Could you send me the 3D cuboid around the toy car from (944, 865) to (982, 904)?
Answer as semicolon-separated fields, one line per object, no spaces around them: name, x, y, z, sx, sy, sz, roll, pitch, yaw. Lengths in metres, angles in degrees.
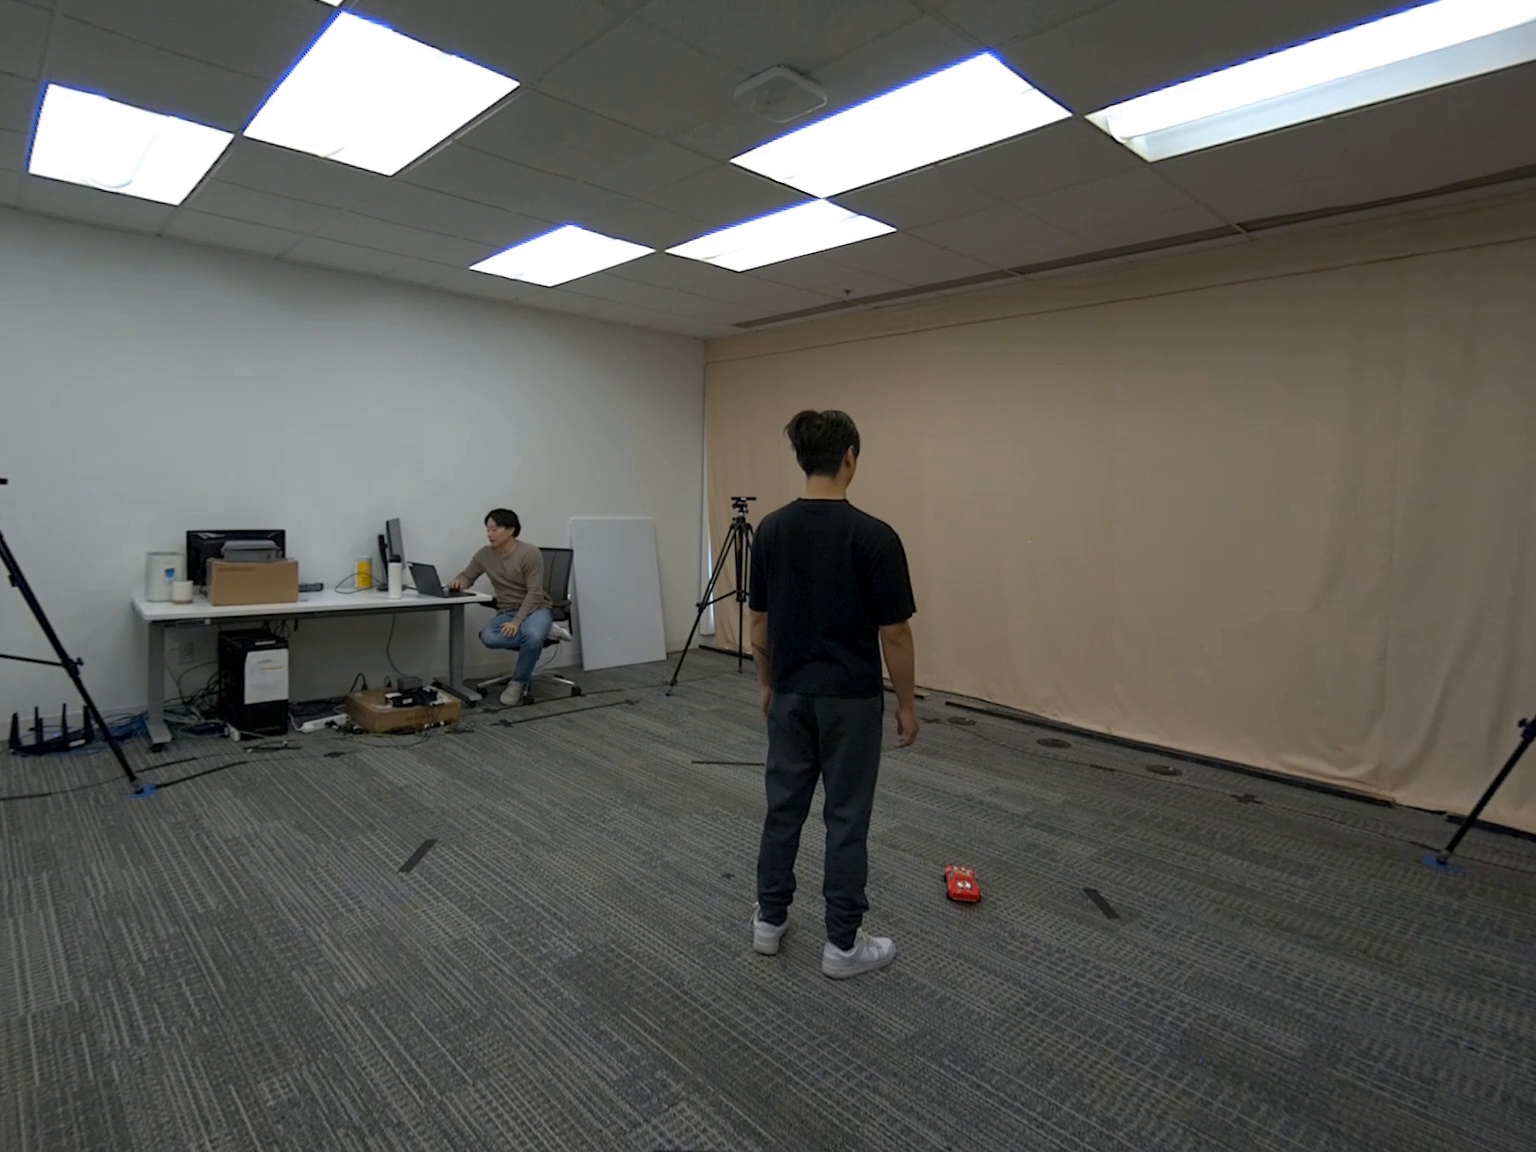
toy car;0.689;1.105;3.013;0.131;0.083;0.251;1;-6;8
